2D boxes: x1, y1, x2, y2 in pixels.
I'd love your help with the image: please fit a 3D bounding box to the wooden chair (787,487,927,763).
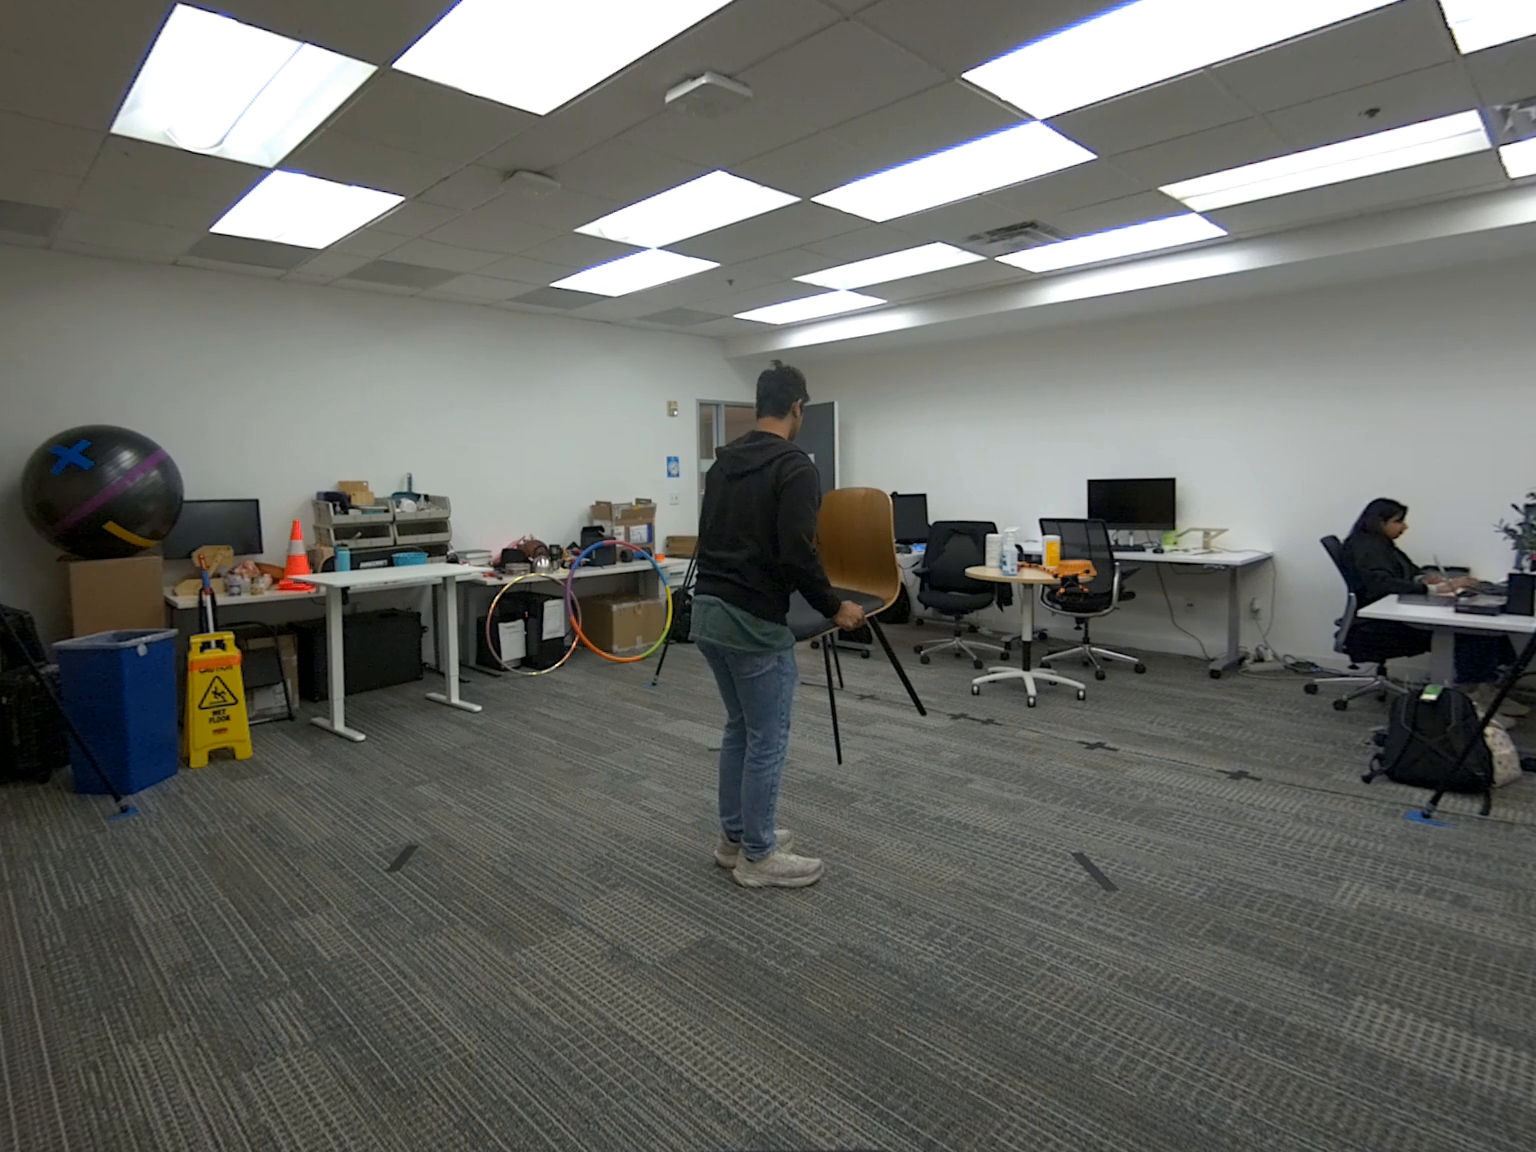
[{"bbox_3d":[0.197,0.152,3.122,0.512,0.867,0.493,-14,14,-36],"label":"wooden chair"}]
